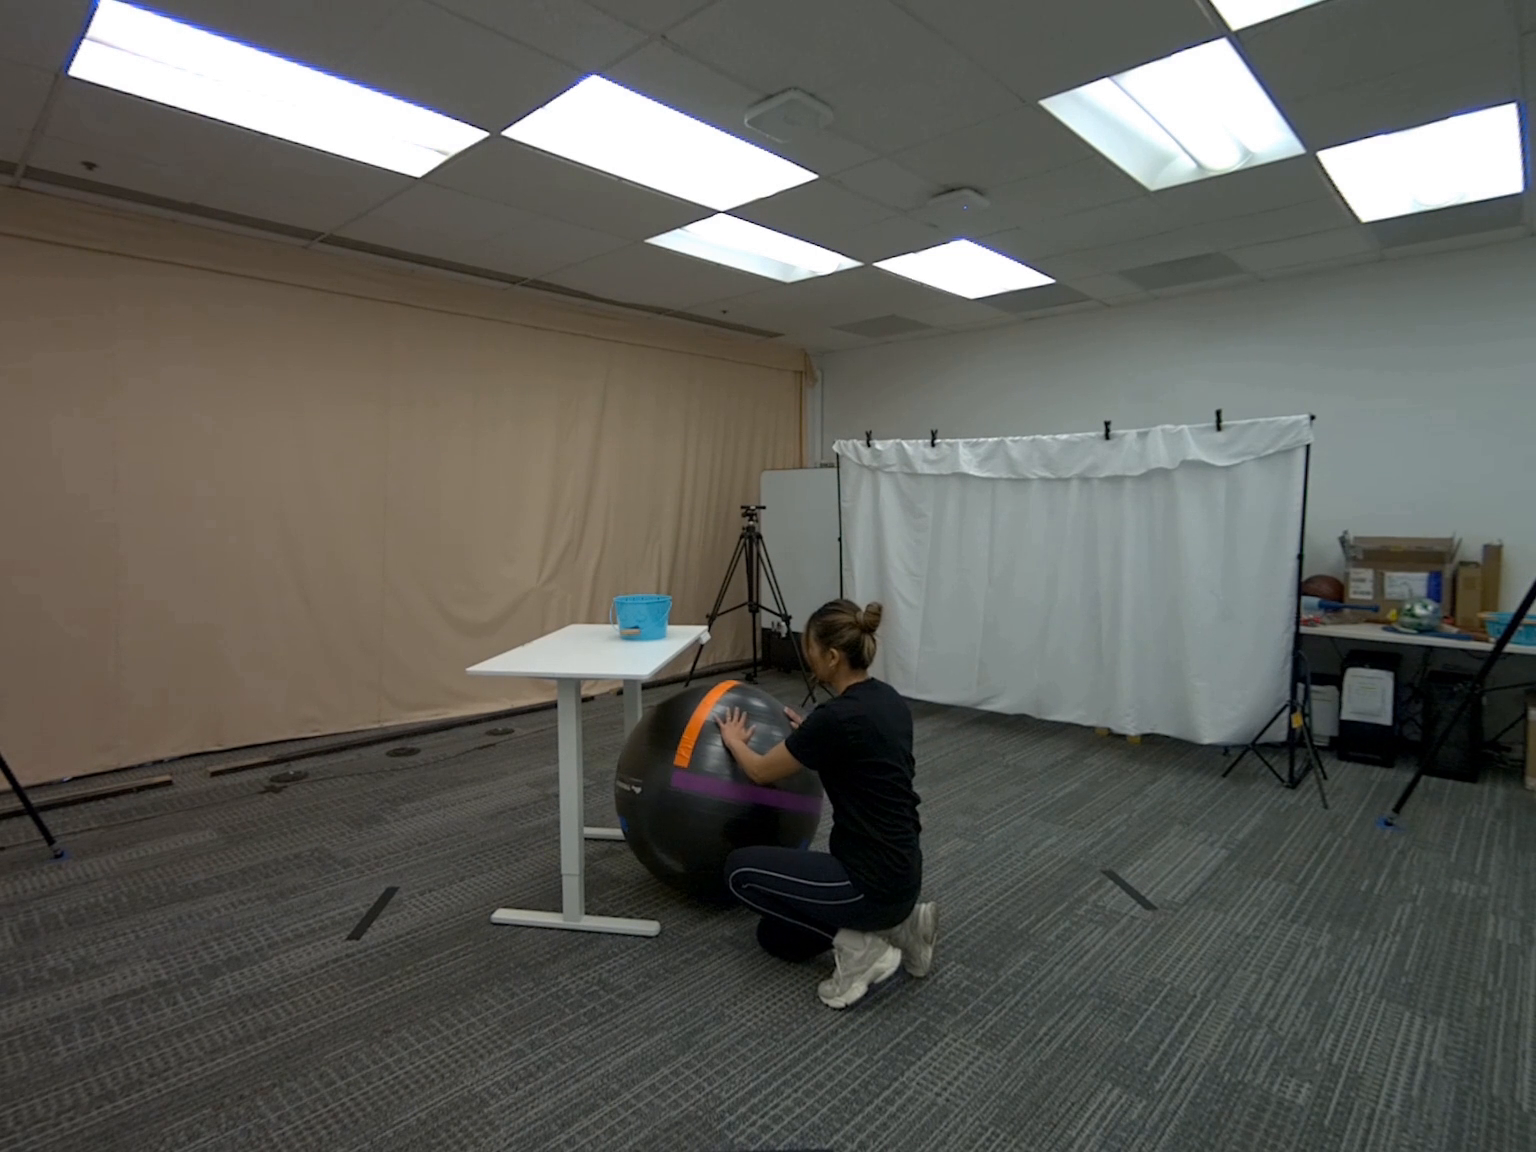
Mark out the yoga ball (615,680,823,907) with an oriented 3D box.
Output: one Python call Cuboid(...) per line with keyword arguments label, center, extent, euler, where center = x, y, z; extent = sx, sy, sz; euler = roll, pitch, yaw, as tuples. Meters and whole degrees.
Cuboid(label="yoga ball", center=(-0.180, 0.771, 3.061), extent=(0.757, 0.756, 0.761), euler=(0, 4, -2))
